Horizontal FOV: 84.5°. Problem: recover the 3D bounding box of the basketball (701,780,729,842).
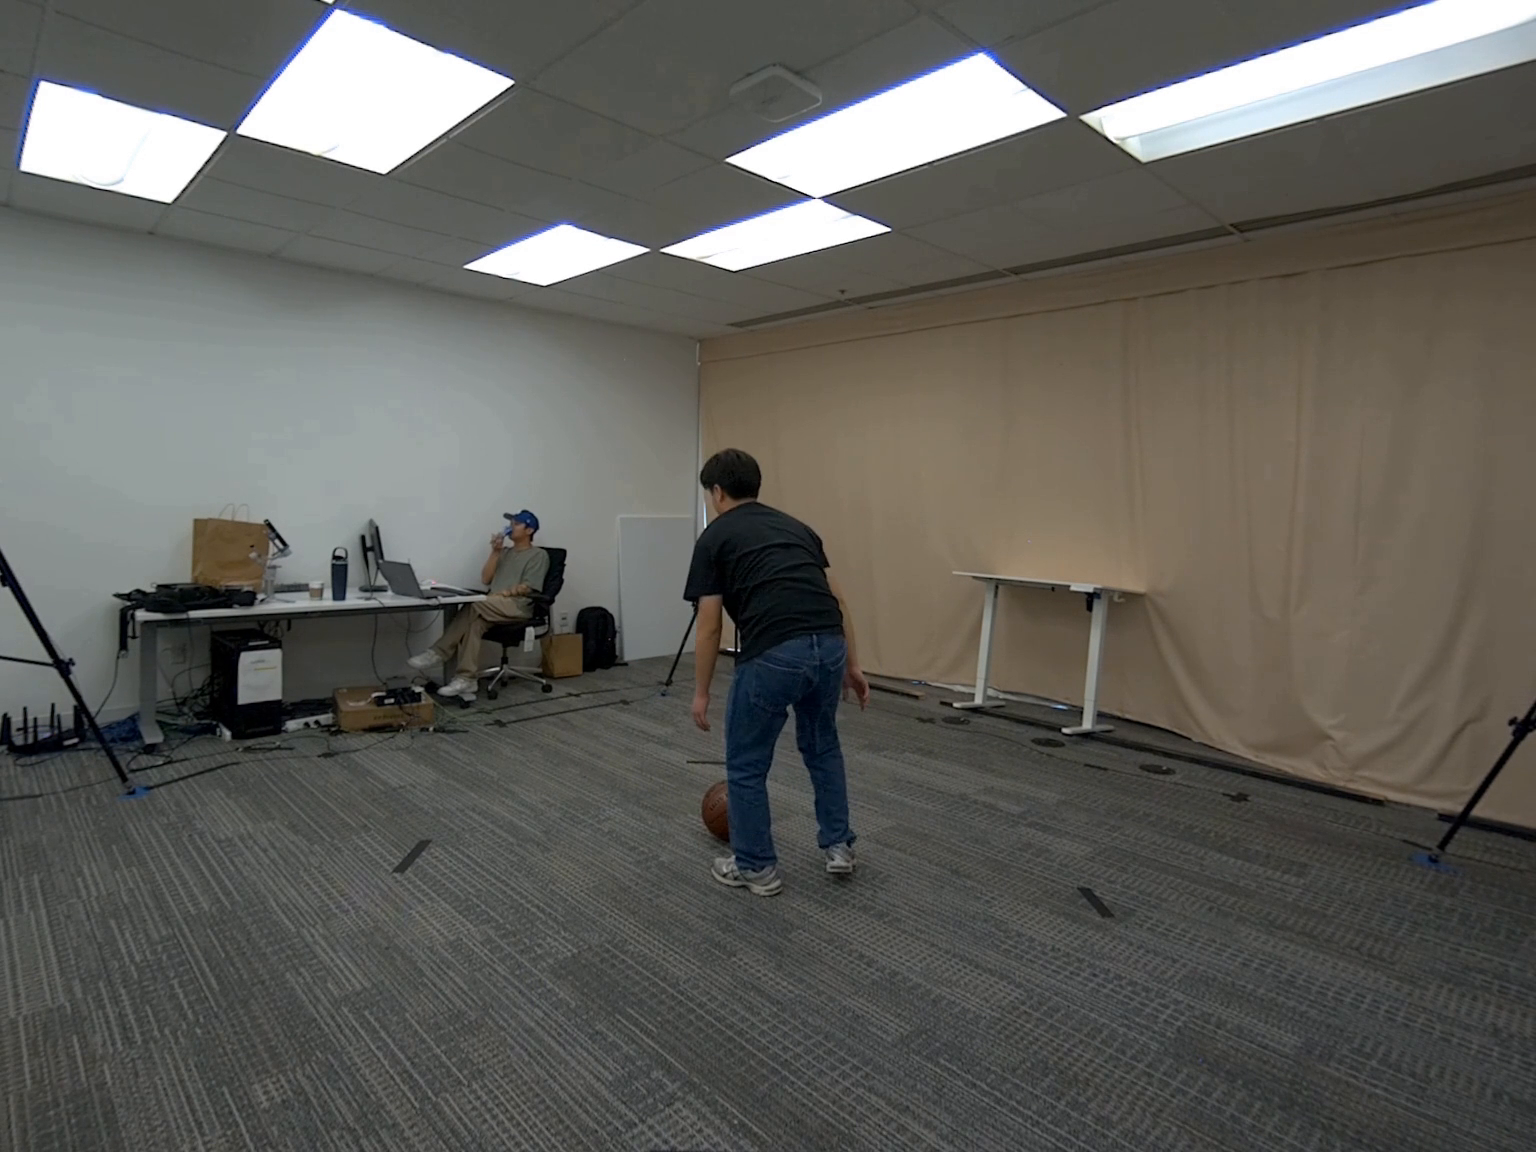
[{"bbox_3d":[-0.157,0.958,3.444,0.236,0.235,0.237,1,4,-1],"label":"basketball"}]
